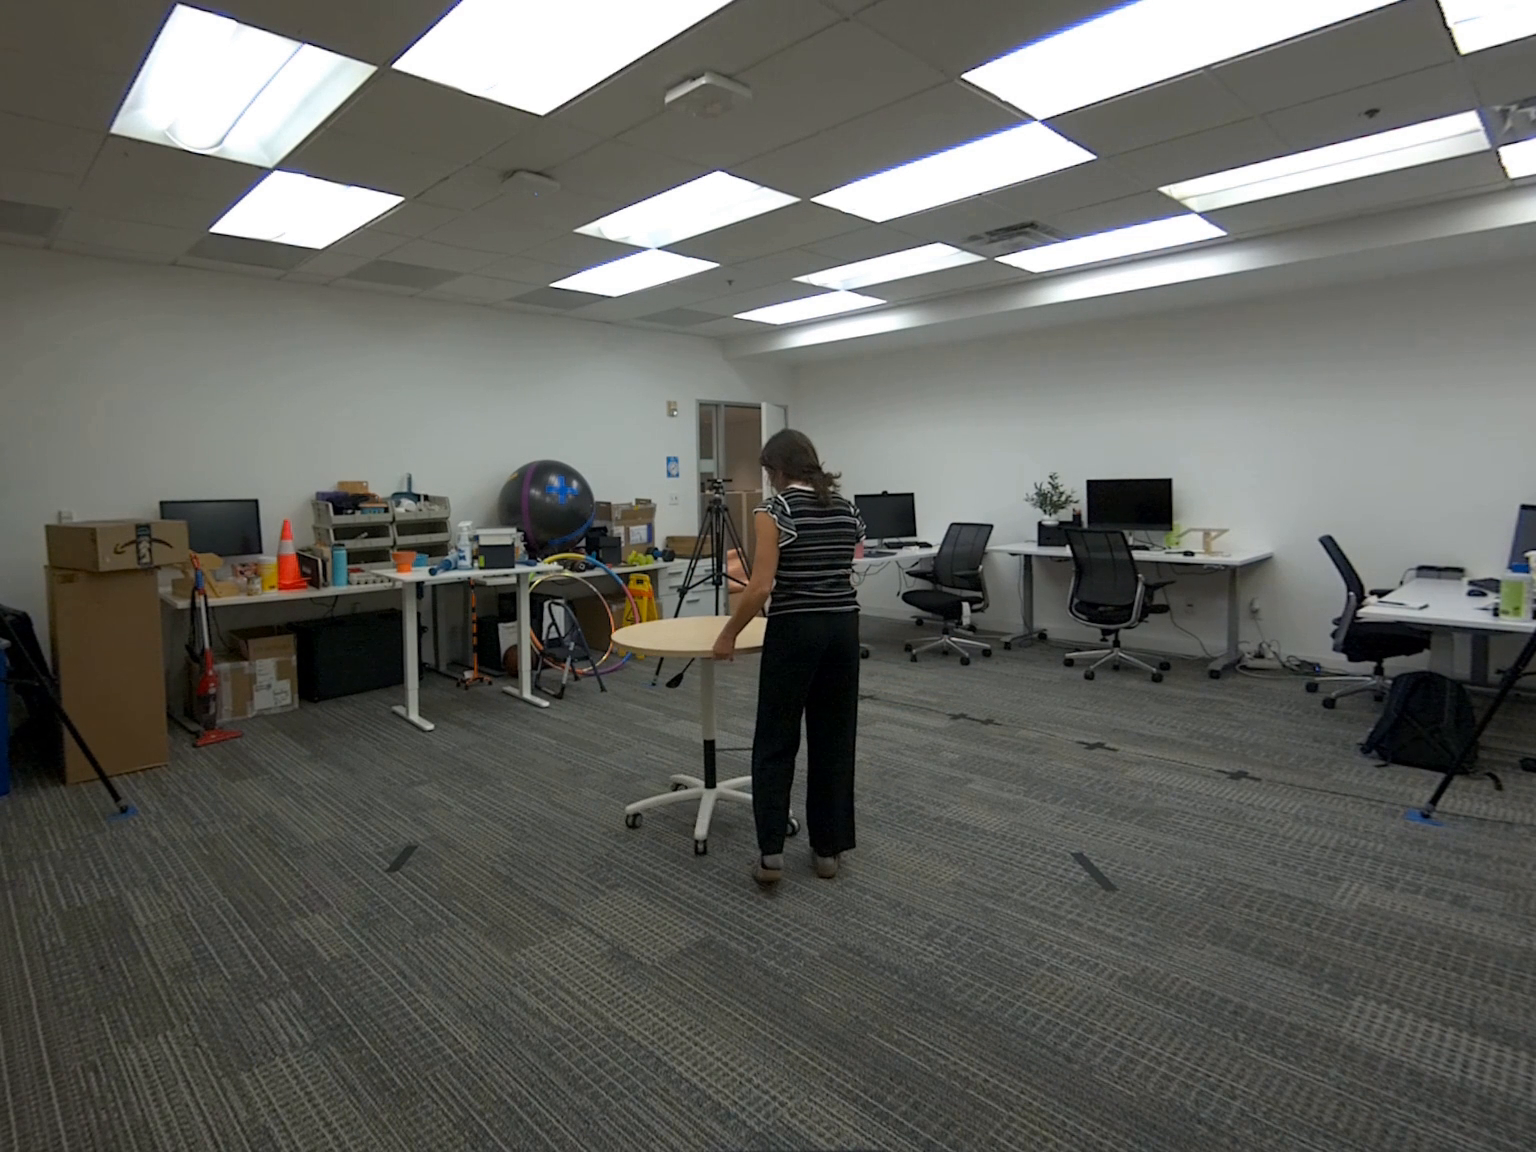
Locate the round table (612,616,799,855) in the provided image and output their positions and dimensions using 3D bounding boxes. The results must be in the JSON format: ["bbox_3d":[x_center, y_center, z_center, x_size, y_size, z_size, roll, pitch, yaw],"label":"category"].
[{"bbox_3d":[-0.243,0.612,3.468,0.784,0.783,0.789,-2,5,-2],"label":"round table"}]
